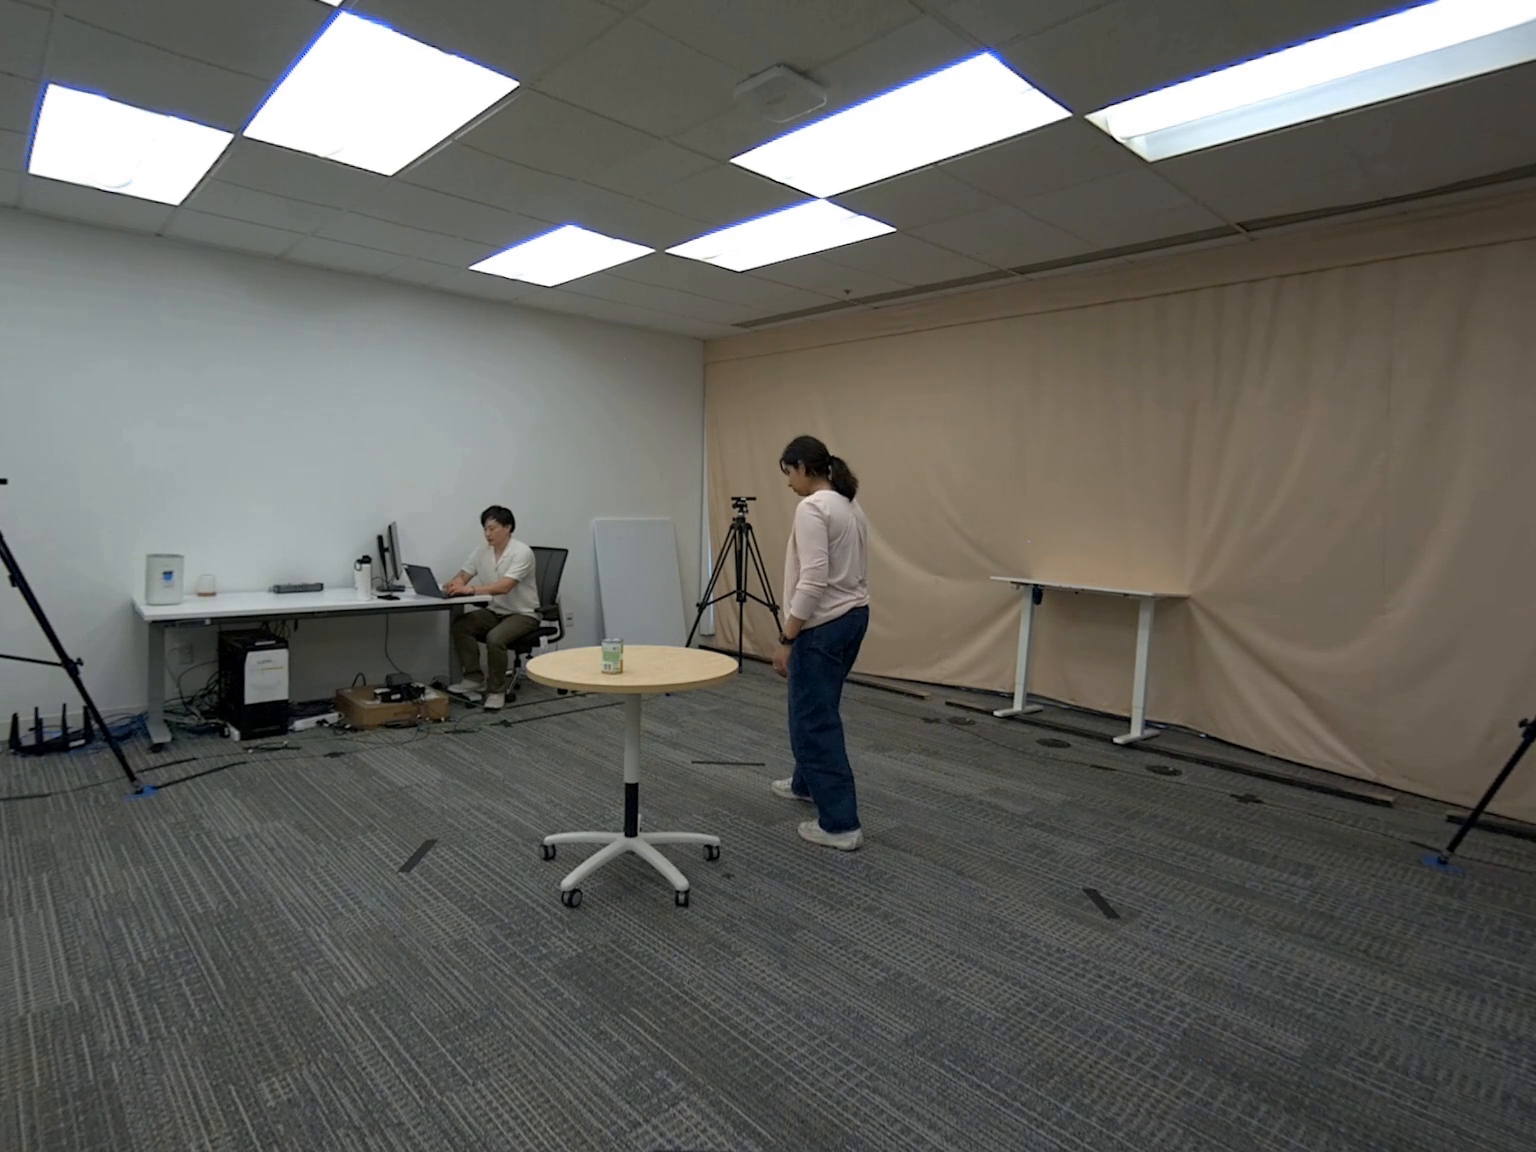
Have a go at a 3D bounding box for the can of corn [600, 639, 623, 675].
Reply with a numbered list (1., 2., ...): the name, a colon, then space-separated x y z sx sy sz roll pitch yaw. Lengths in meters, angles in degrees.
1. can of corn: -0.540 0.278 2.884 0.074 0.111 0.074 0 3 -1
